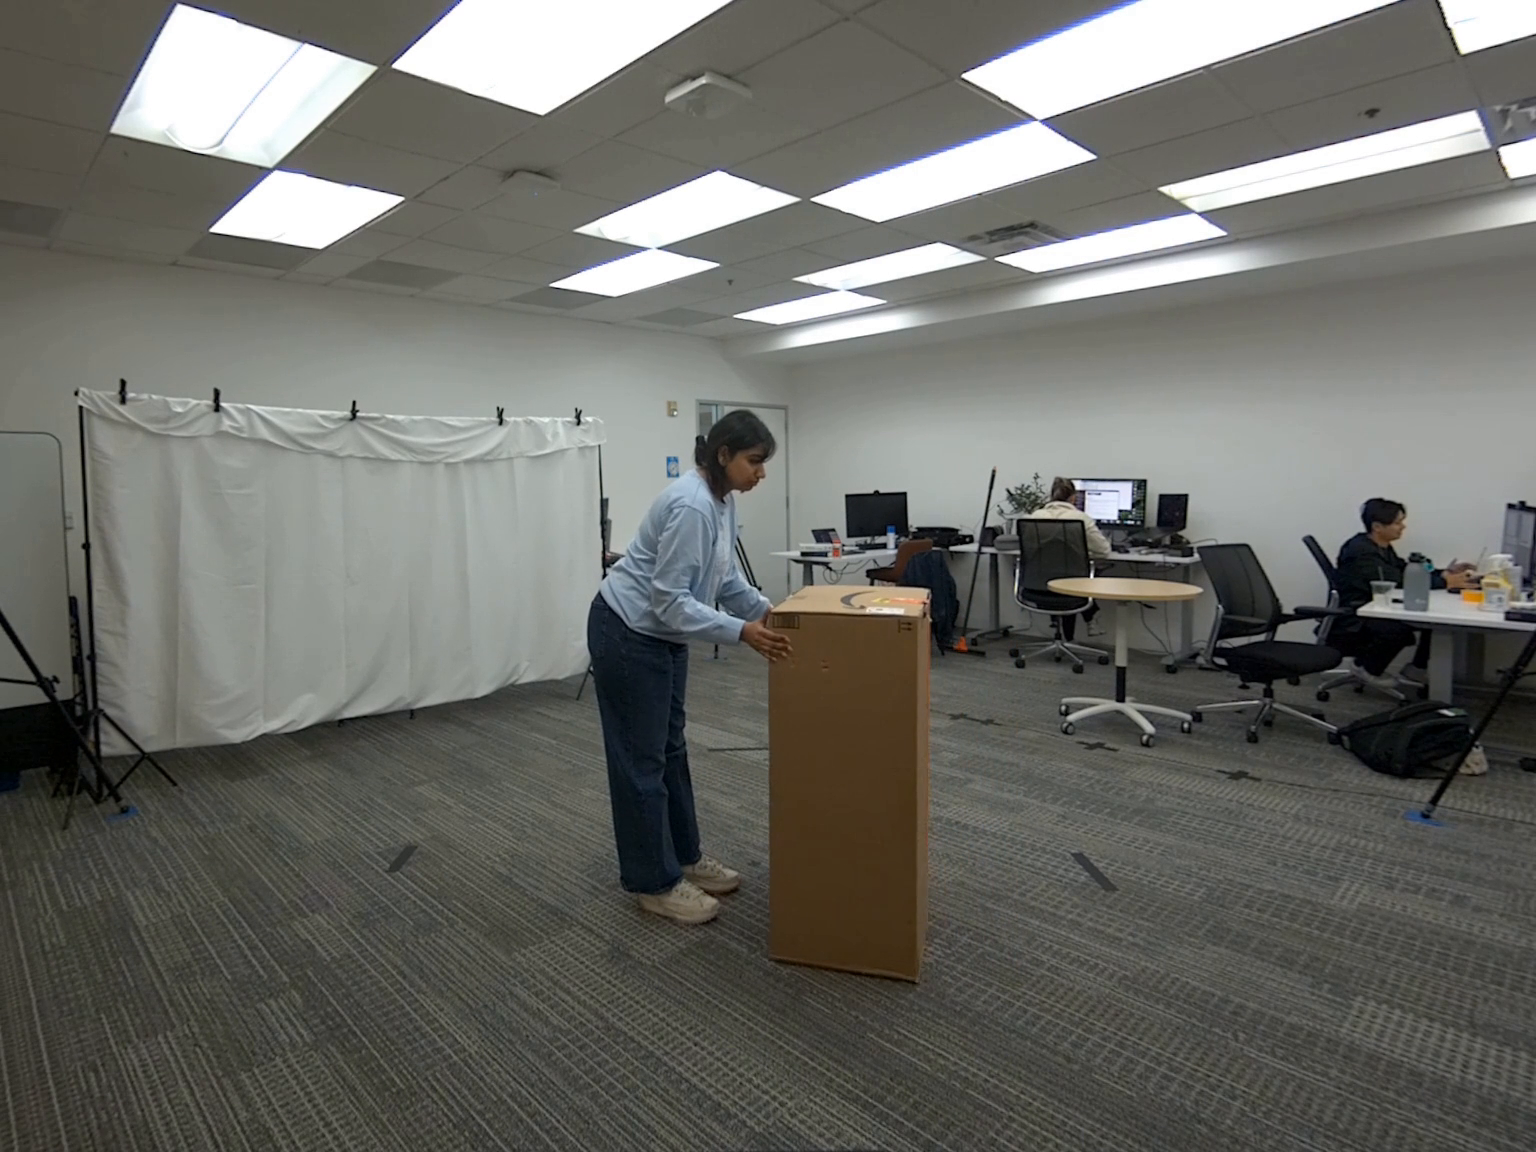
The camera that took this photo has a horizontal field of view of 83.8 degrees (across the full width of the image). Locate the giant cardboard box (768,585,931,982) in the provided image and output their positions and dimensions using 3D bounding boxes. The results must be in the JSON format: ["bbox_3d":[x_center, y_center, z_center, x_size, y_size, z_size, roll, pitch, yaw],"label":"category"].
[{"bbox_3d":[0.276,0.583,2.655,0.433,1.022,0.571,1,4,14],"label":"giant cardboard box"}]
